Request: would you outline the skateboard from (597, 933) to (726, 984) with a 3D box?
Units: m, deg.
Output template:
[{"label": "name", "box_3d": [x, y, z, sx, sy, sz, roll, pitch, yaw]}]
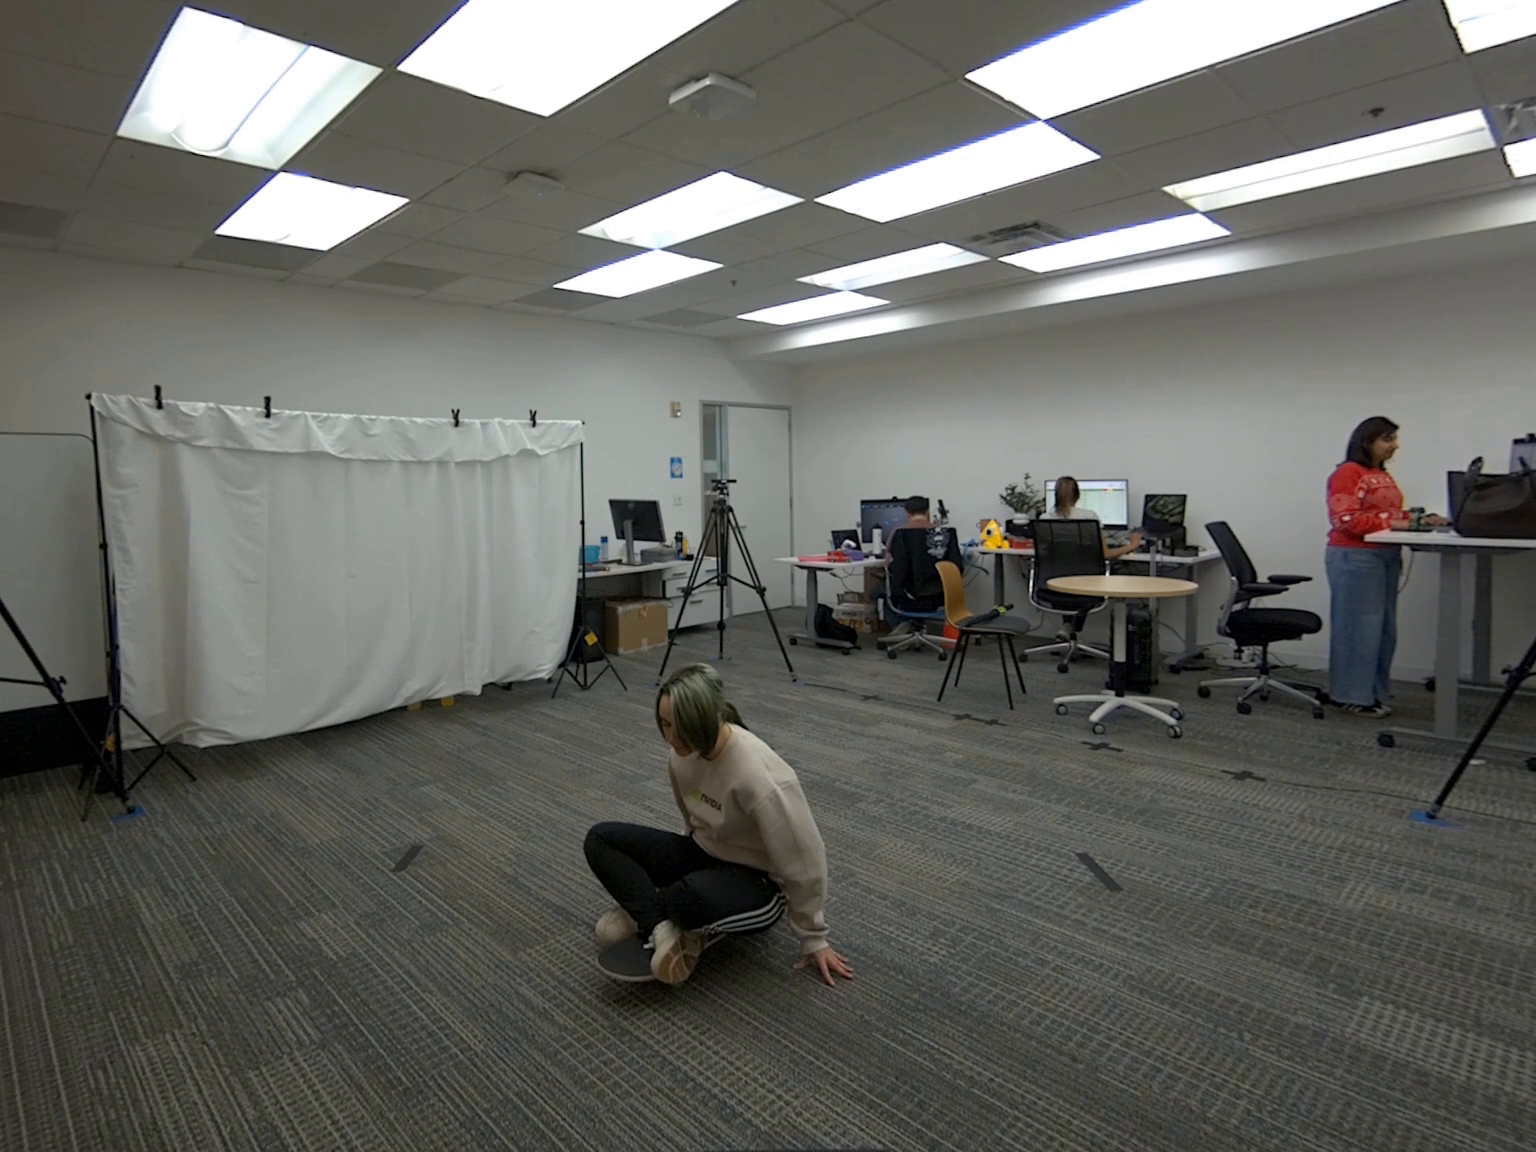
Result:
[{"label": "skateboard", "box_3d": [-0.193, 1.067, 2.545, 0.199, 0.110, 0.764, 7, 8, 39]}]
